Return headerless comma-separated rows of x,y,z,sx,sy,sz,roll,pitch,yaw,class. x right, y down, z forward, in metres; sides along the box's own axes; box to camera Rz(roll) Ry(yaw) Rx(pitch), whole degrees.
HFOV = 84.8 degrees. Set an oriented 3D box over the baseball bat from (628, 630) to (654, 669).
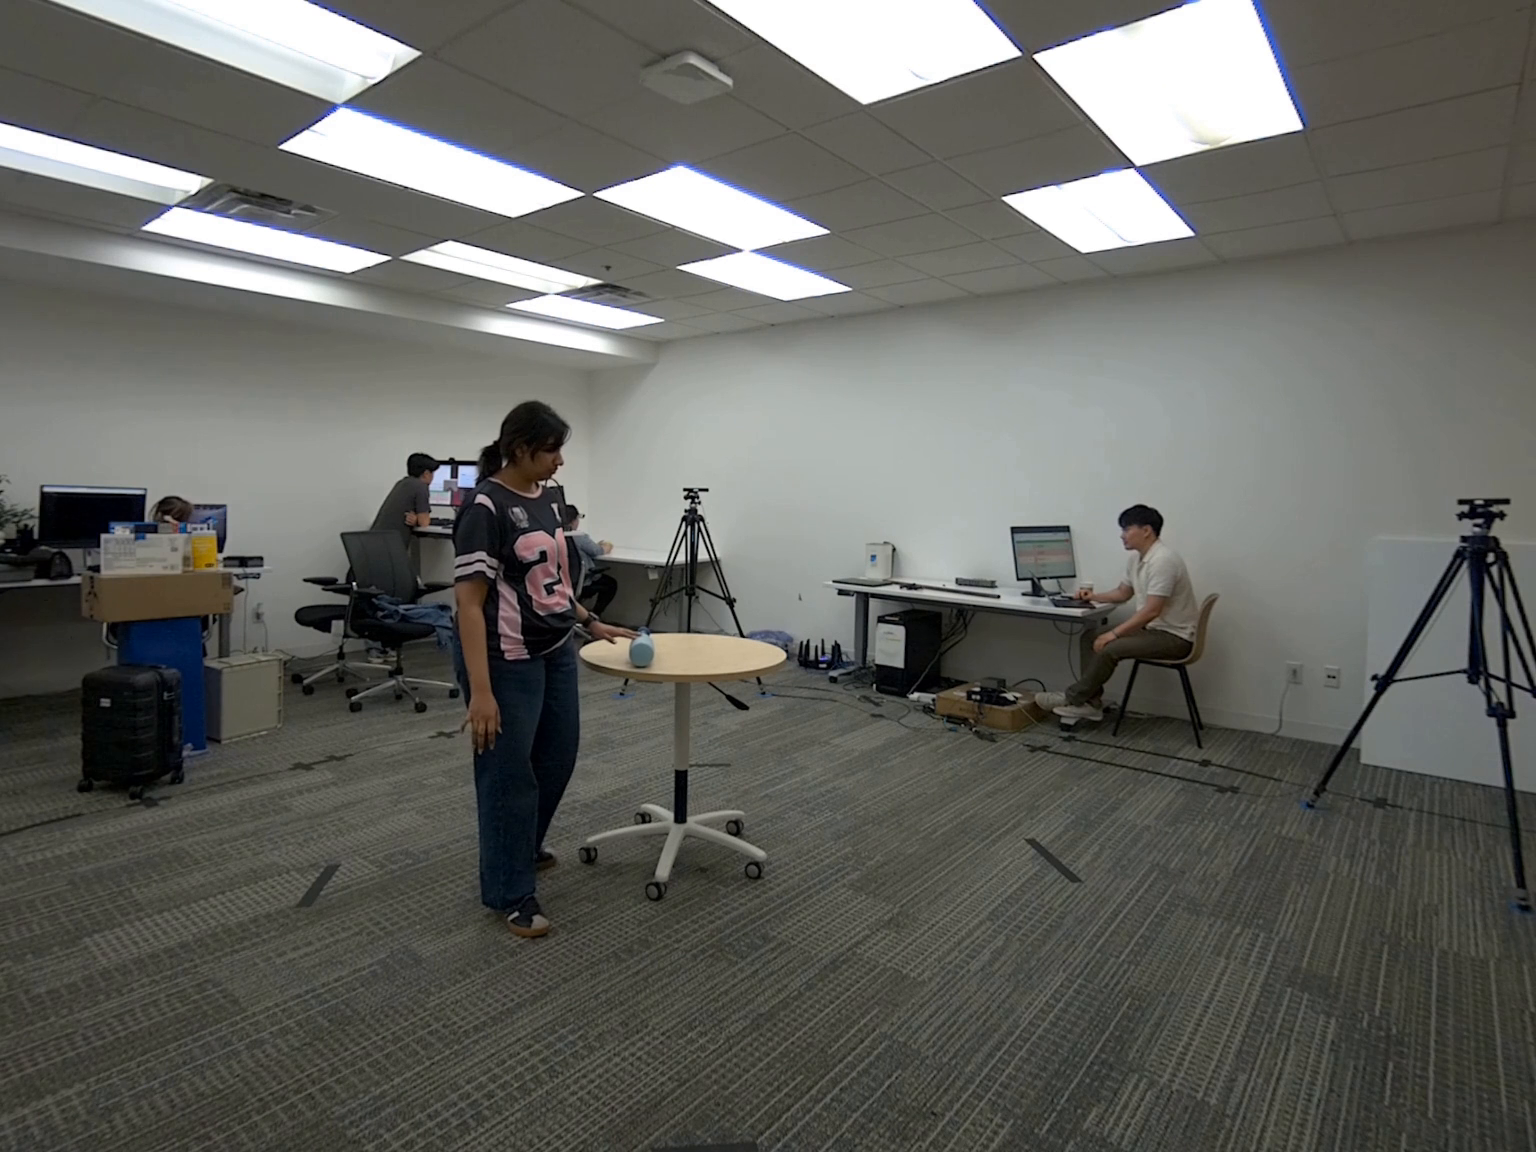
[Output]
-0.471,0.245,3.114,0.088,0.089,0.548,0,3,-9,baseball bat
